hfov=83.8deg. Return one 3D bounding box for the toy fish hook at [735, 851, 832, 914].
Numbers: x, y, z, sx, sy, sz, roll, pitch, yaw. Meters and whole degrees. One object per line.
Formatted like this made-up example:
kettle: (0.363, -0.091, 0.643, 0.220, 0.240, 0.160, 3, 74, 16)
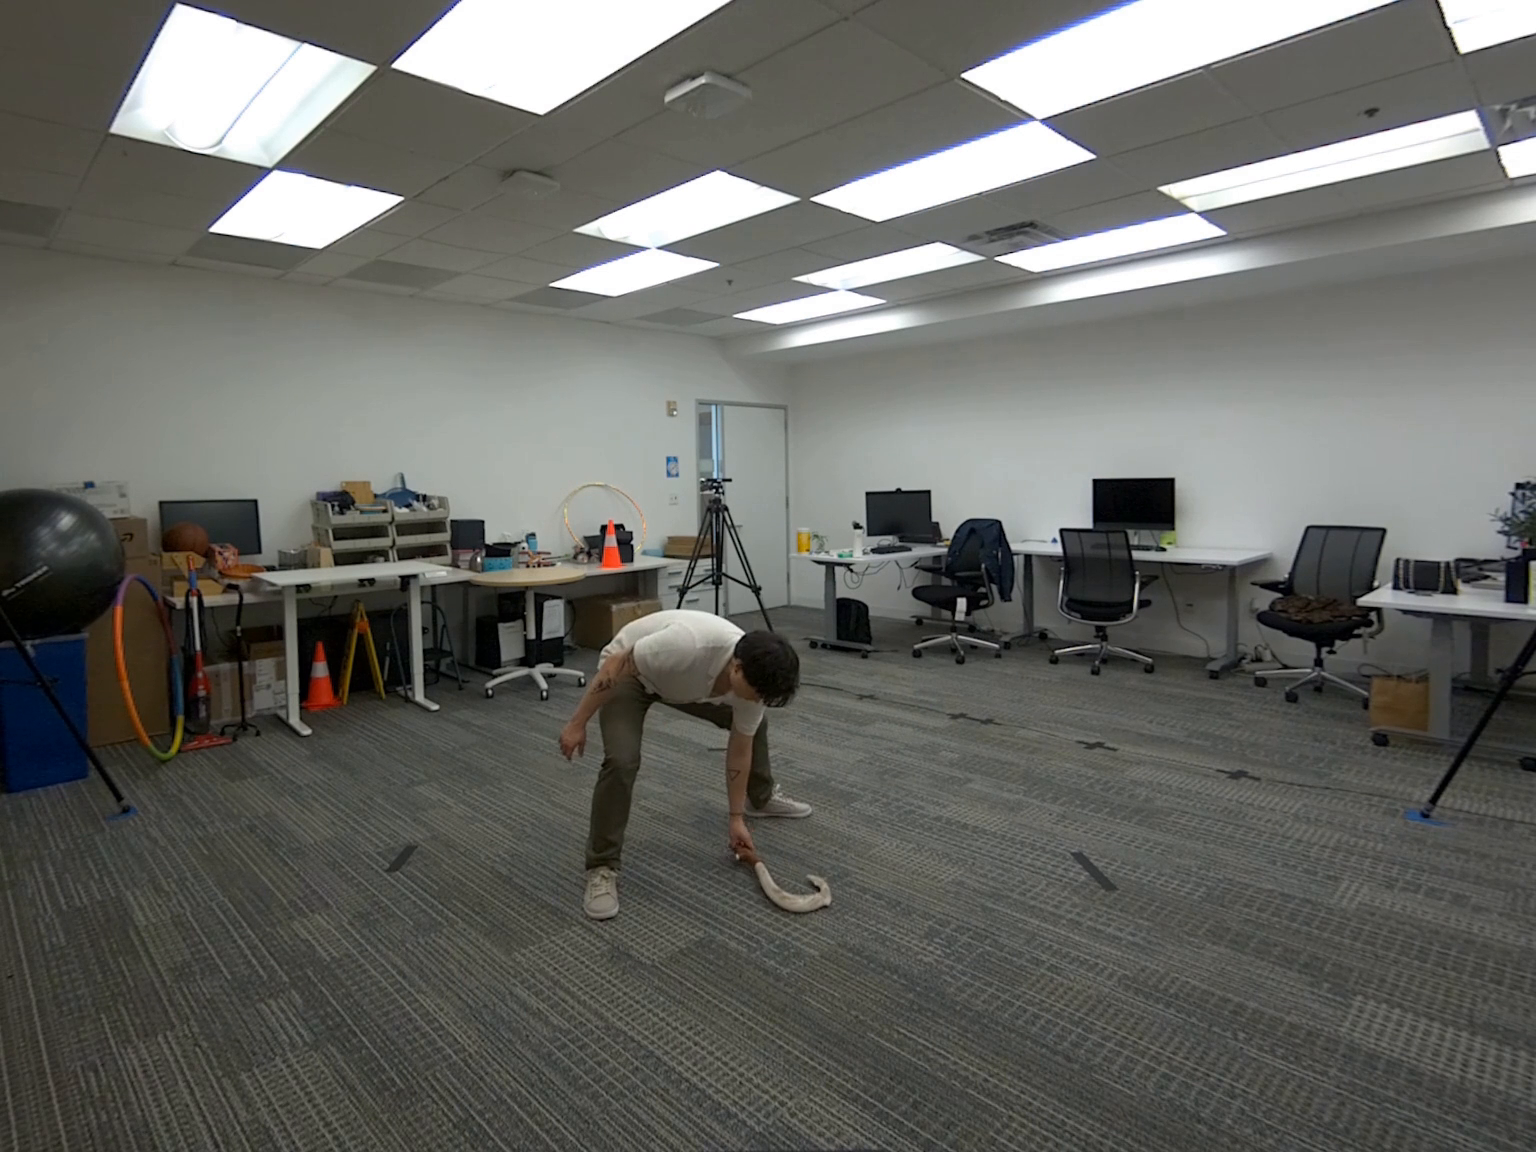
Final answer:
toy fish hook: (0.037, 1.031, 2.977, 0.219, 0.048, 0.522, 4, 7, -30)
